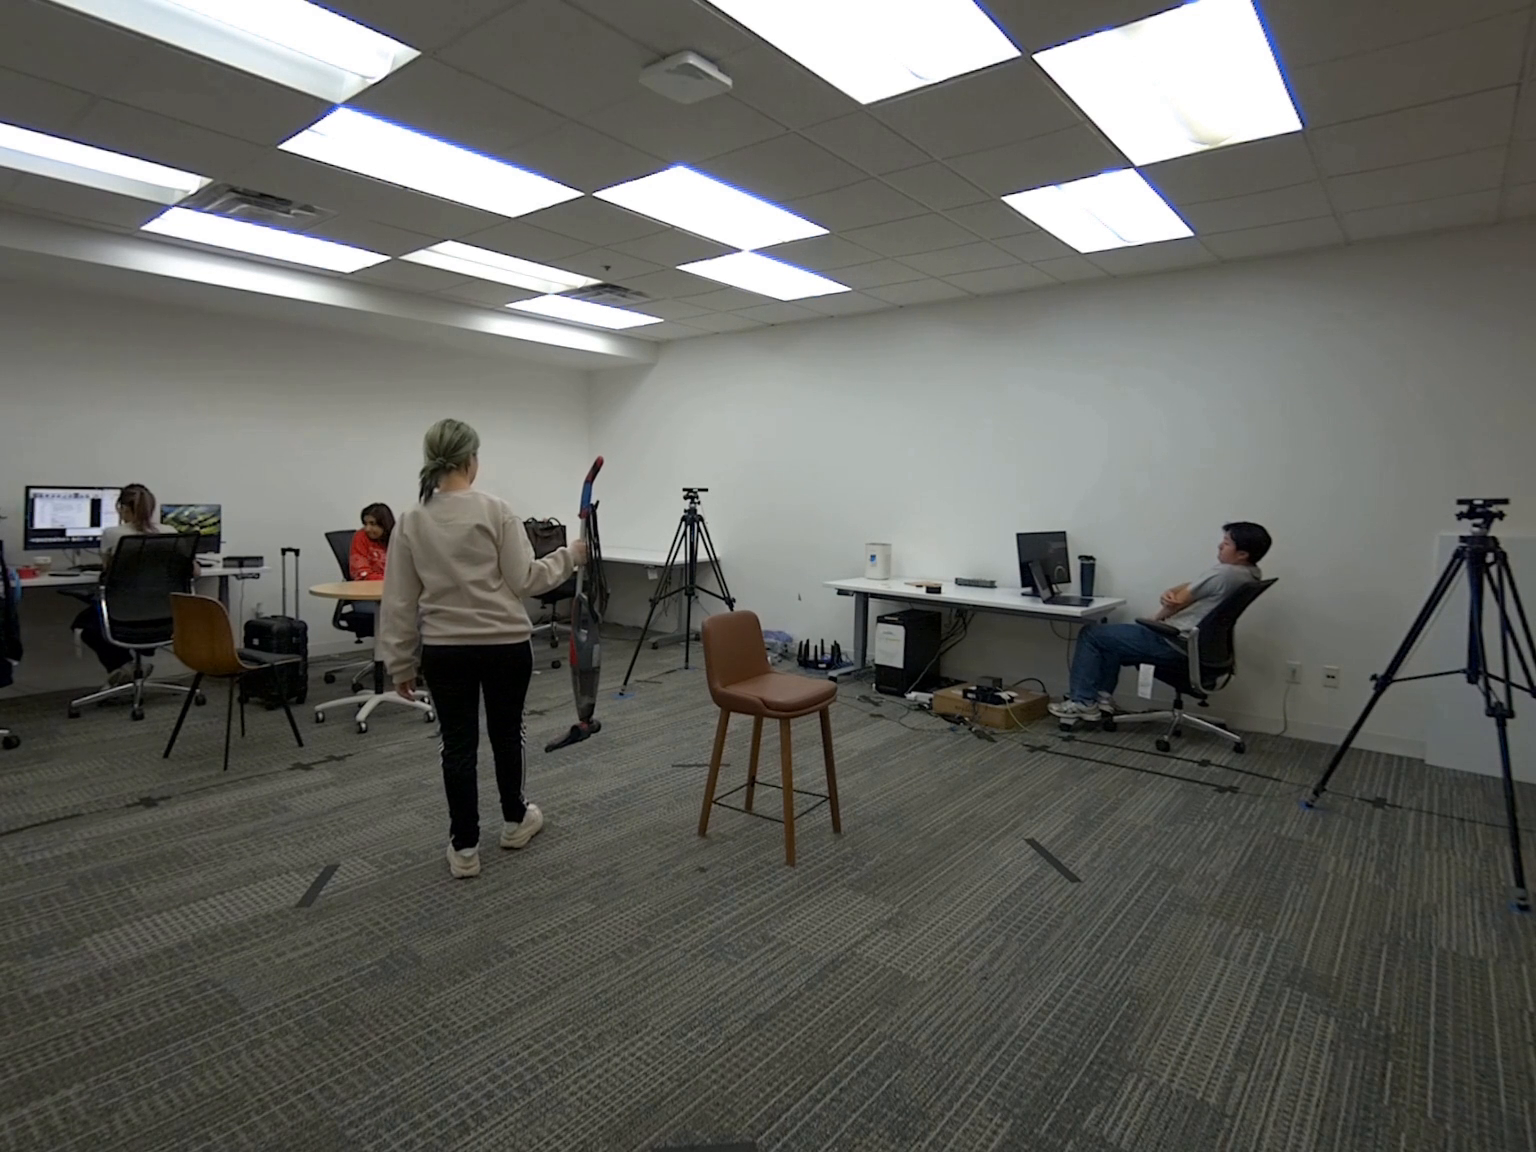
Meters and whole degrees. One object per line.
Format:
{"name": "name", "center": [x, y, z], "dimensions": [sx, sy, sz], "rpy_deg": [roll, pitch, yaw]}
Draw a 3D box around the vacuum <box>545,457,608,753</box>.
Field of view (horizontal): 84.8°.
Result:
{"name": "vacuum", "center": [-0.690, 0.088, 3.191], "dimensions": [0.148, 1.047, 0.246], "rpy_deg": [7, 3, 25]}
